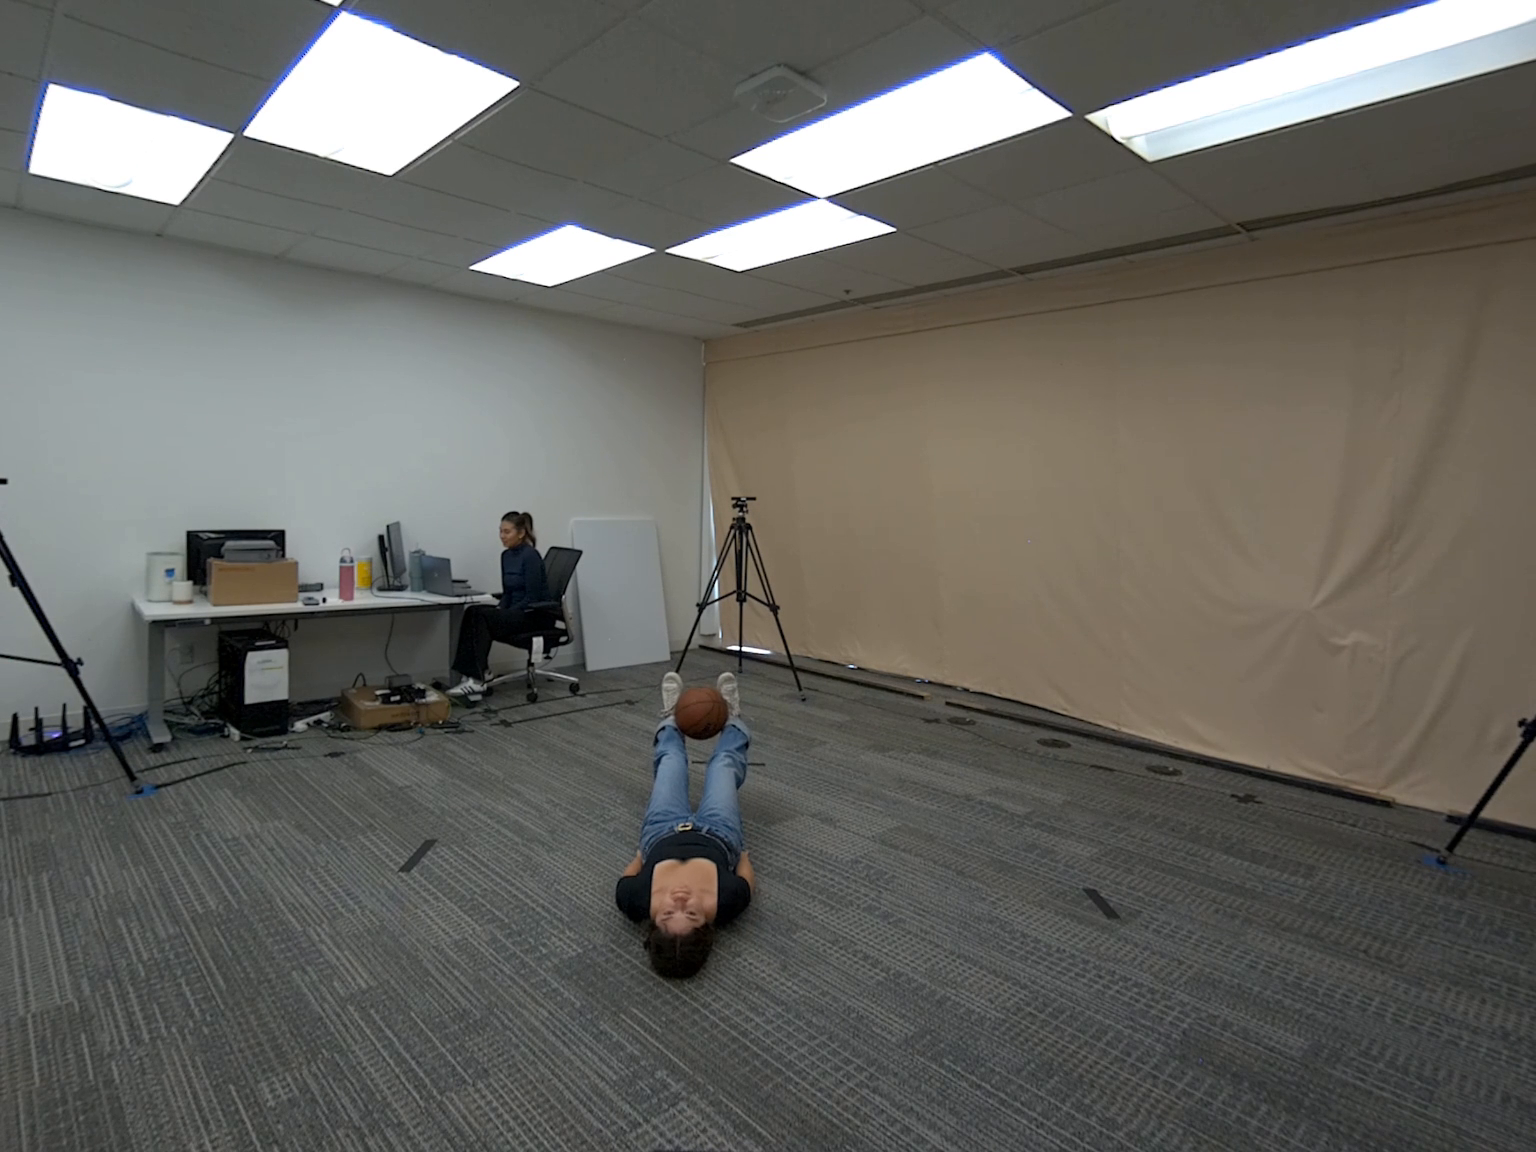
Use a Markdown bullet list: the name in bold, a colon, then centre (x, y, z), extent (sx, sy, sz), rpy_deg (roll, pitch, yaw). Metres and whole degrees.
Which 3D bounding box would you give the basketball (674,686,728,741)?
- **basketball**: centre (-0.312, 0.612, 3.785), extent (0.236, 0.235, 0.237), rpy_deg (1, 4, -1)
